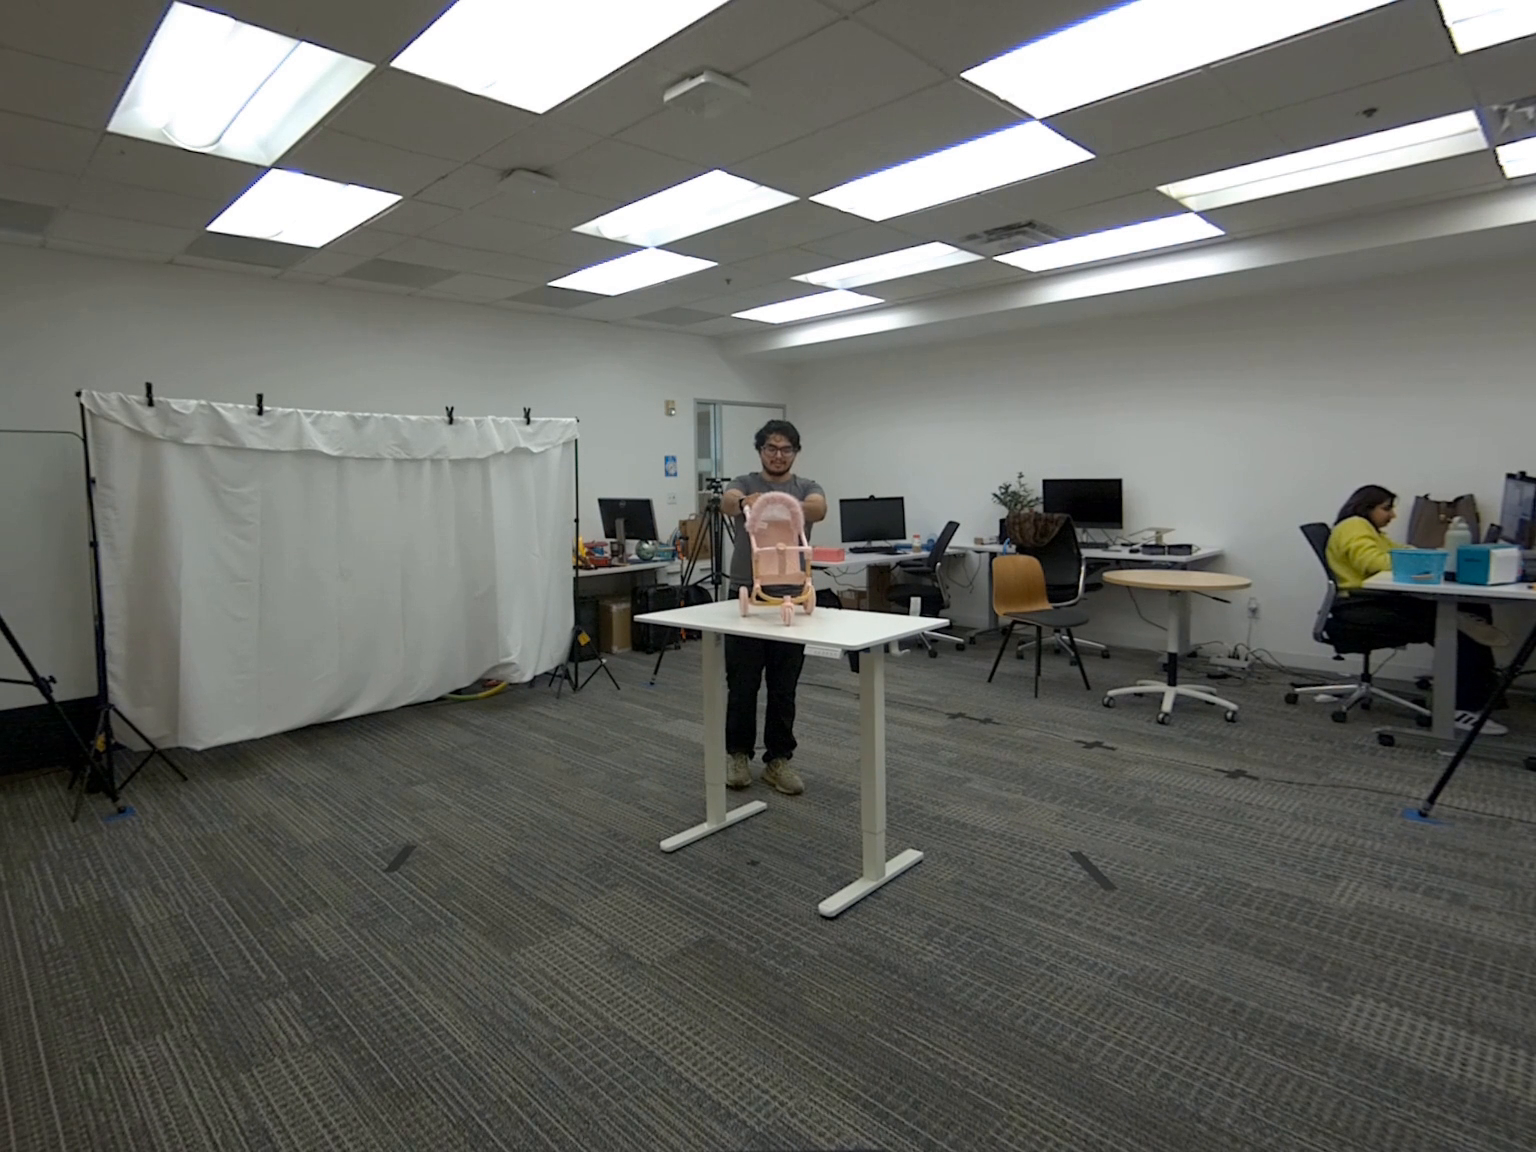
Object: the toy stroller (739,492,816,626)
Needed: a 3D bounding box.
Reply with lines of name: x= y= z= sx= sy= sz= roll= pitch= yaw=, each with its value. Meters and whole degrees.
toy stroller: x=0.034 y=-0.067 z=3.138 sx=0.281 sy=0.541 sz=0.338 roll=-2 pitch=-12 yaw=-4
